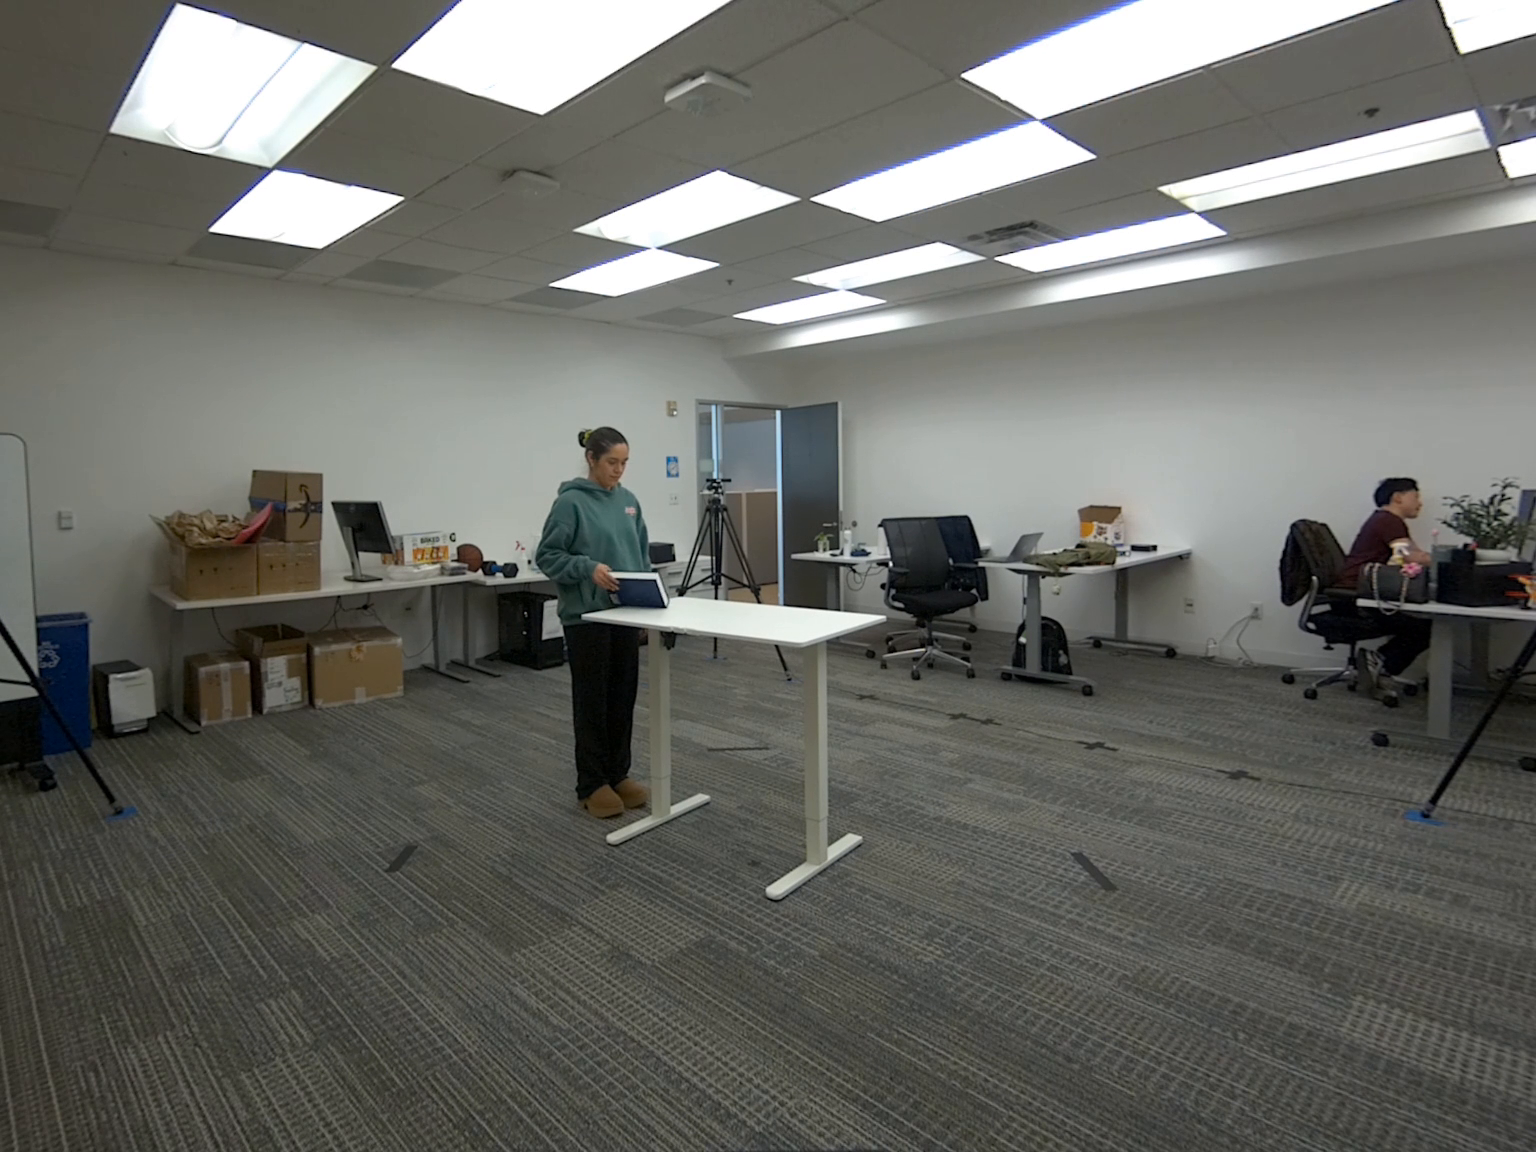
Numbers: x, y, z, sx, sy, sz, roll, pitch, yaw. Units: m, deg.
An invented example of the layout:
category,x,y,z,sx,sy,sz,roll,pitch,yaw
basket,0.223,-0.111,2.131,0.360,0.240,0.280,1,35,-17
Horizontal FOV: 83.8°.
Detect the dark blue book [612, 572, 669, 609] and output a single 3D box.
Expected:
category,x,y,z,sx,sy,sz,roll,pitch,yaw
dark blue book,-0.527,0.057,3.452,0.250,0.158,0.046,2,39,20
